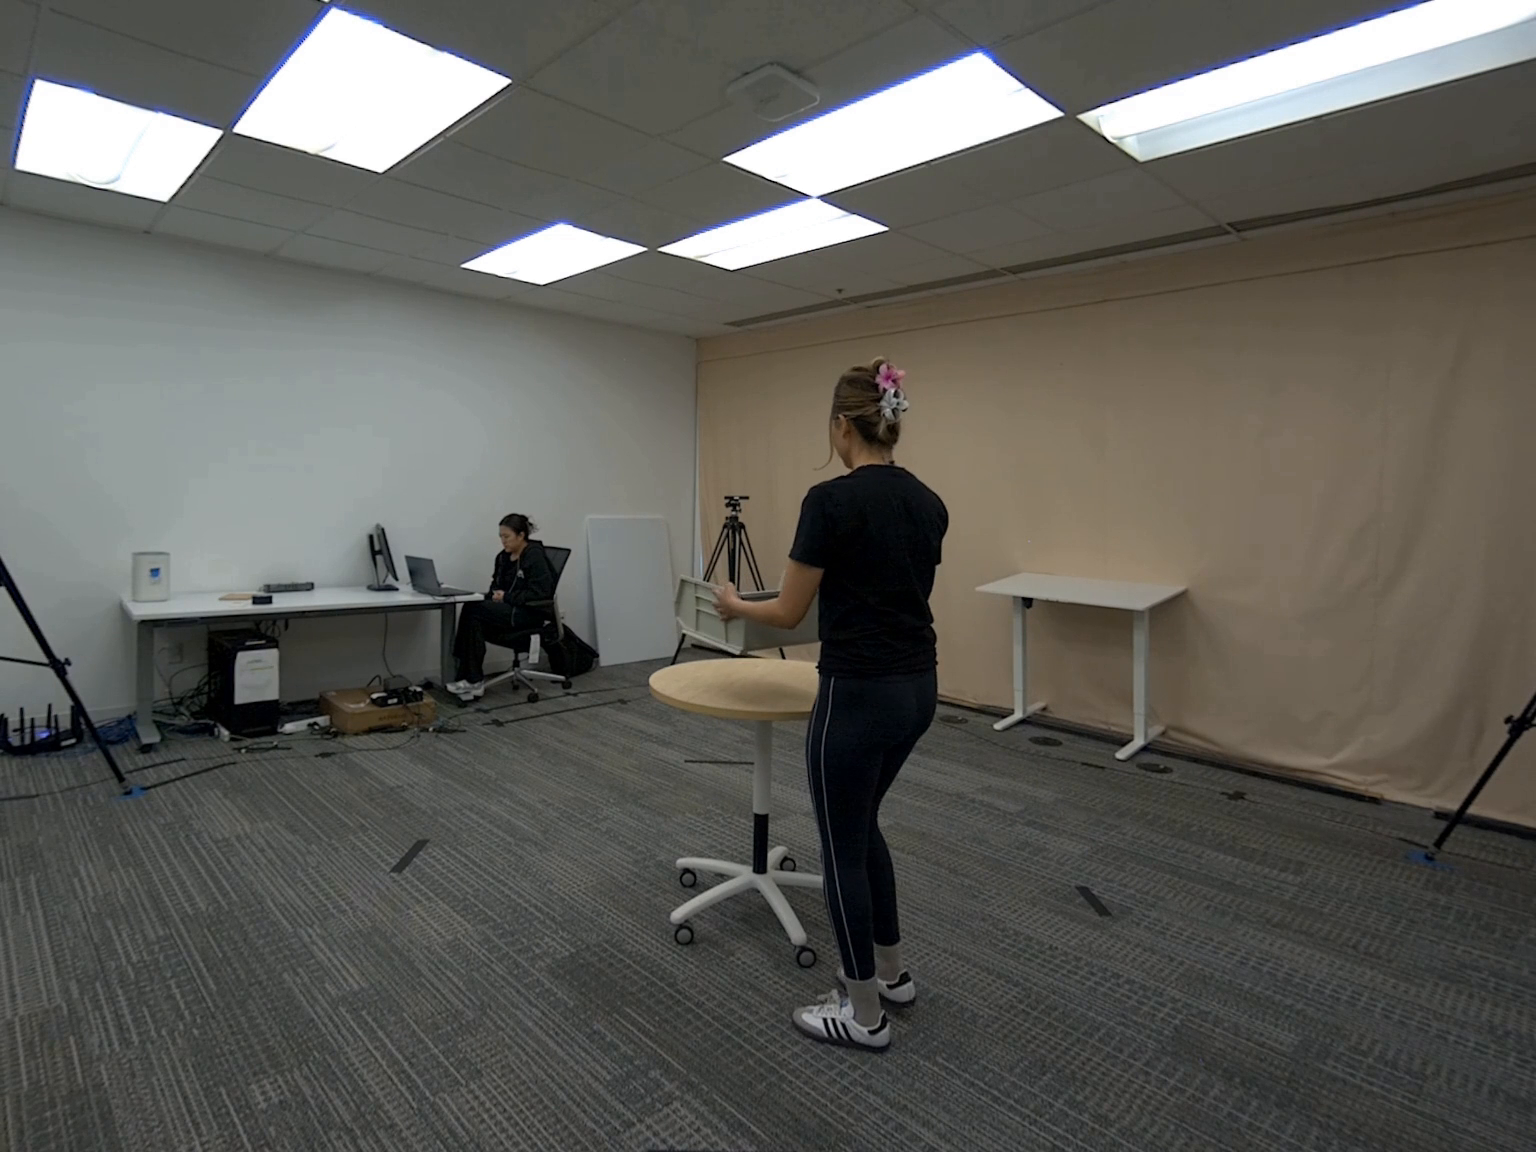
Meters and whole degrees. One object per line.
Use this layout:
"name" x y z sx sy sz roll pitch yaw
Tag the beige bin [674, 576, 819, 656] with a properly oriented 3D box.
"beige bin" -0.033 0.103 2.600 0.413 0.188 0.387 -3 10 -36
